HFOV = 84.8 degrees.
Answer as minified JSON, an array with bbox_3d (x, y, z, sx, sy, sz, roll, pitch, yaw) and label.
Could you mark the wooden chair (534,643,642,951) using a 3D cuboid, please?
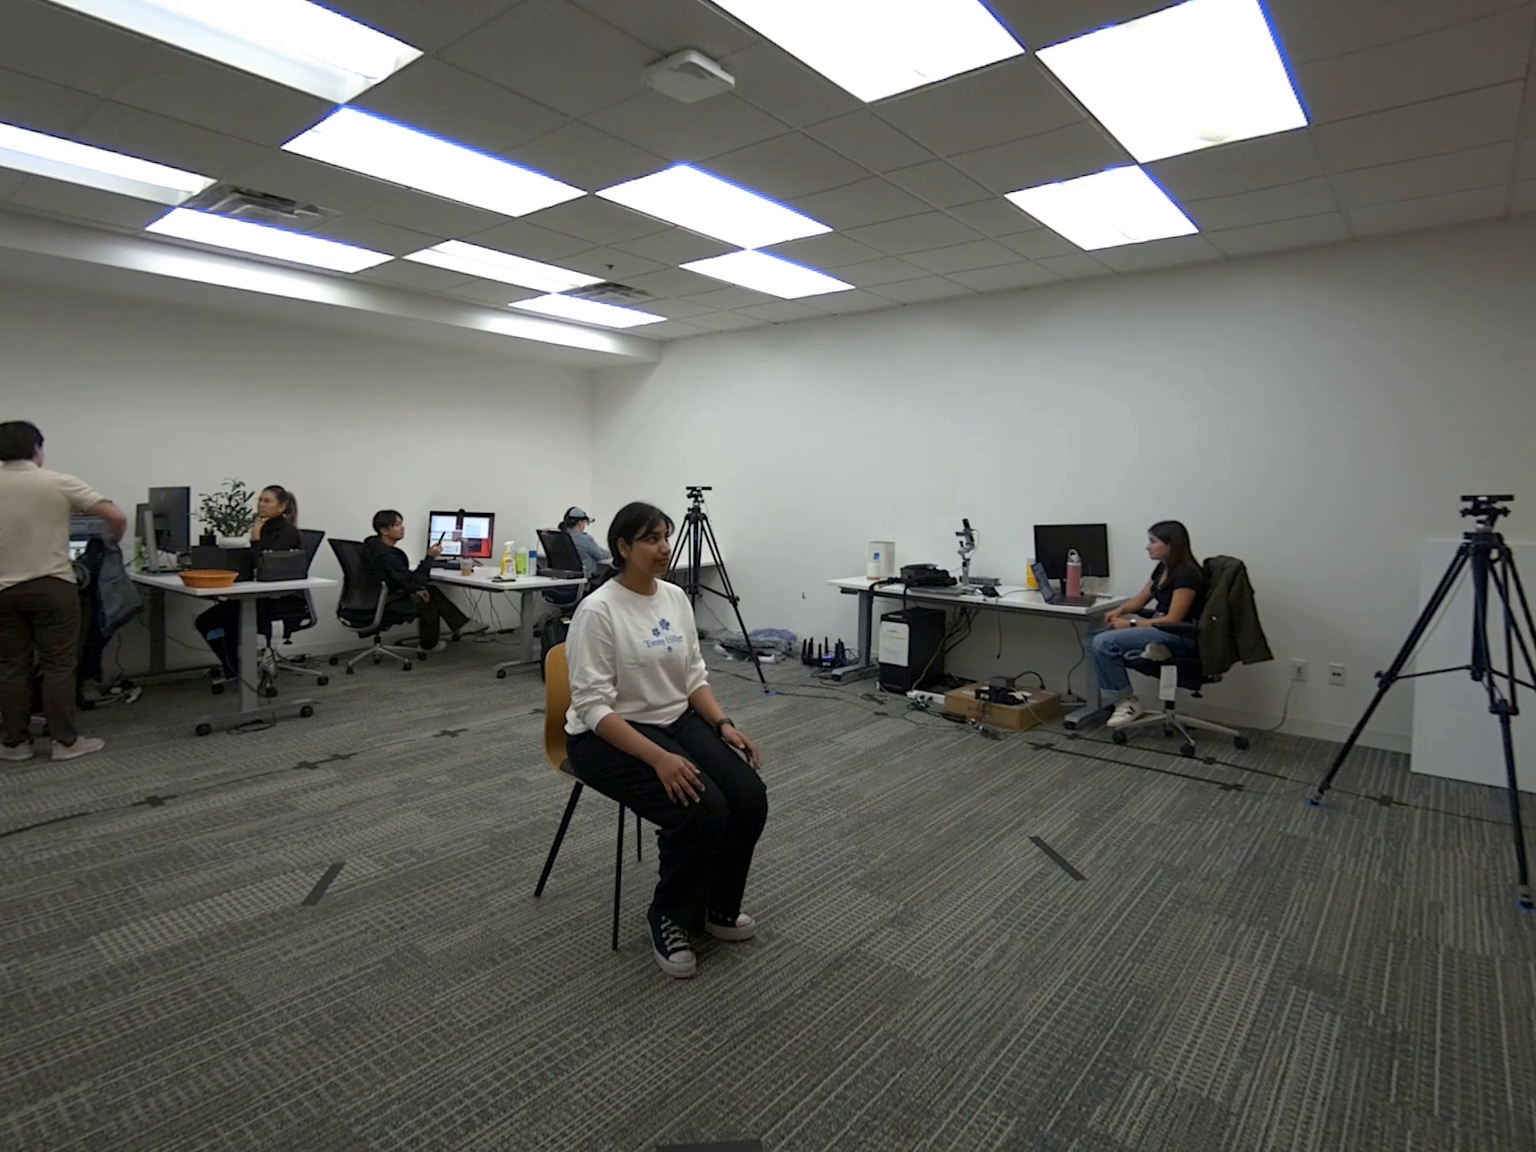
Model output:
[{"bbox_3d":[-0.449,0.660,2.831,0.463,0.877,0.539,-2,1,-44],"label":"wooden chair"}]
